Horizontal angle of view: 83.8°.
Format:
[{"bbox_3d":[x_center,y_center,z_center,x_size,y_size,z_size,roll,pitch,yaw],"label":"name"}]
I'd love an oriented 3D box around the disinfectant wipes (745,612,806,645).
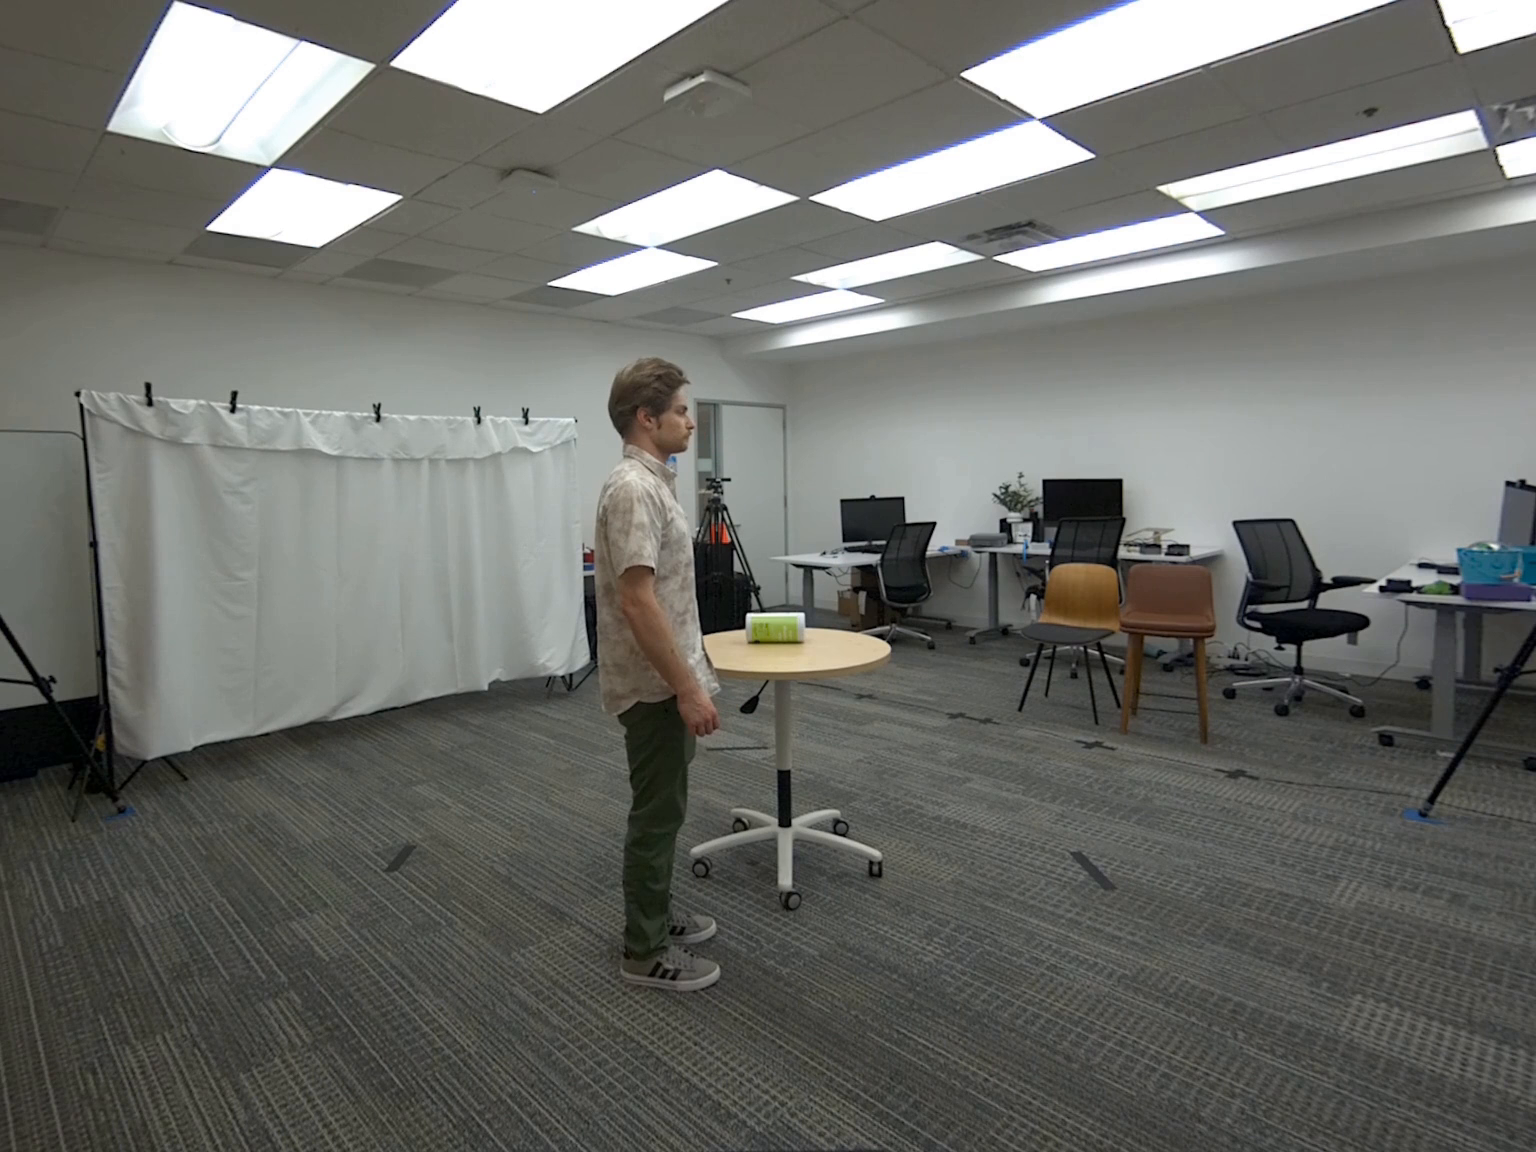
[{"bbox_3d":[0.031,0.188,3.142,0.219,0.117,0.117,-1,5,5],"label":"disinfectant wipes"}]
